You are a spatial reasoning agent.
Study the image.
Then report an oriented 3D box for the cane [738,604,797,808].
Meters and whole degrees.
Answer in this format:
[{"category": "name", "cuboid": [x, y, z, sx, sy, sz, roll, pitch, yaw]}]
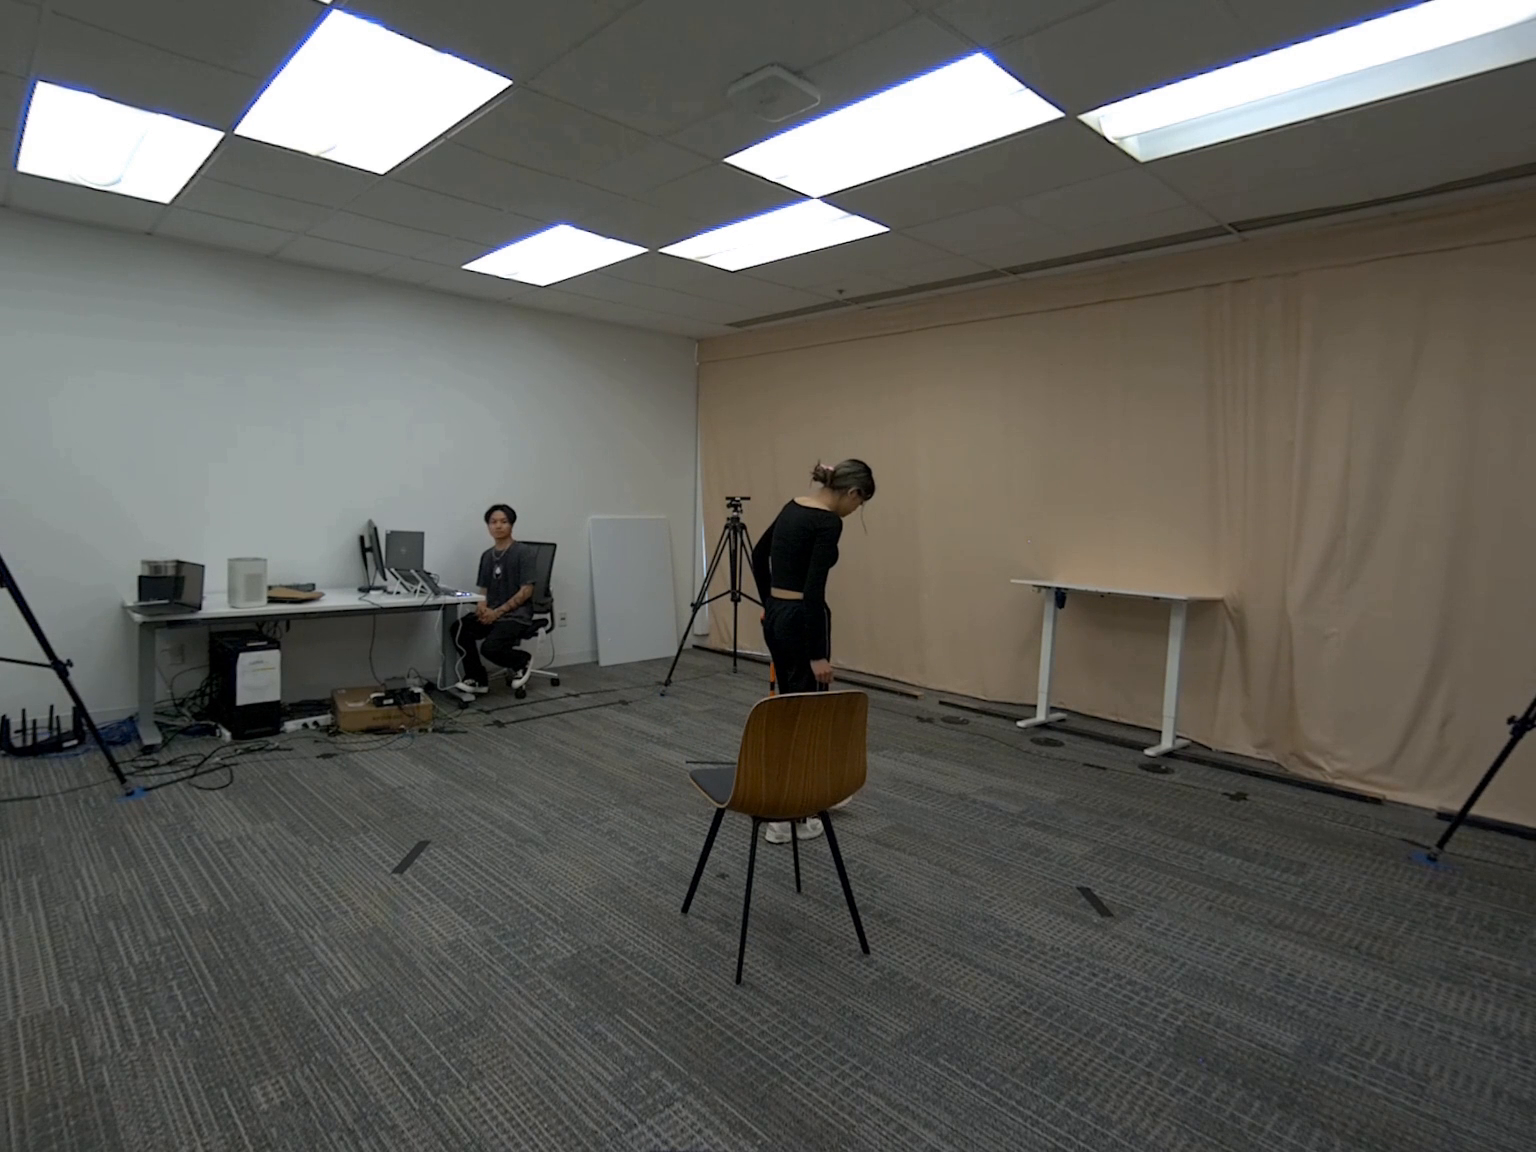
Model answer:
[{"category": "cane", "cuboid": [0.002, 0.590, 3.934, 0.203, 0.907, 0.154, 2, 2, -21]}]
